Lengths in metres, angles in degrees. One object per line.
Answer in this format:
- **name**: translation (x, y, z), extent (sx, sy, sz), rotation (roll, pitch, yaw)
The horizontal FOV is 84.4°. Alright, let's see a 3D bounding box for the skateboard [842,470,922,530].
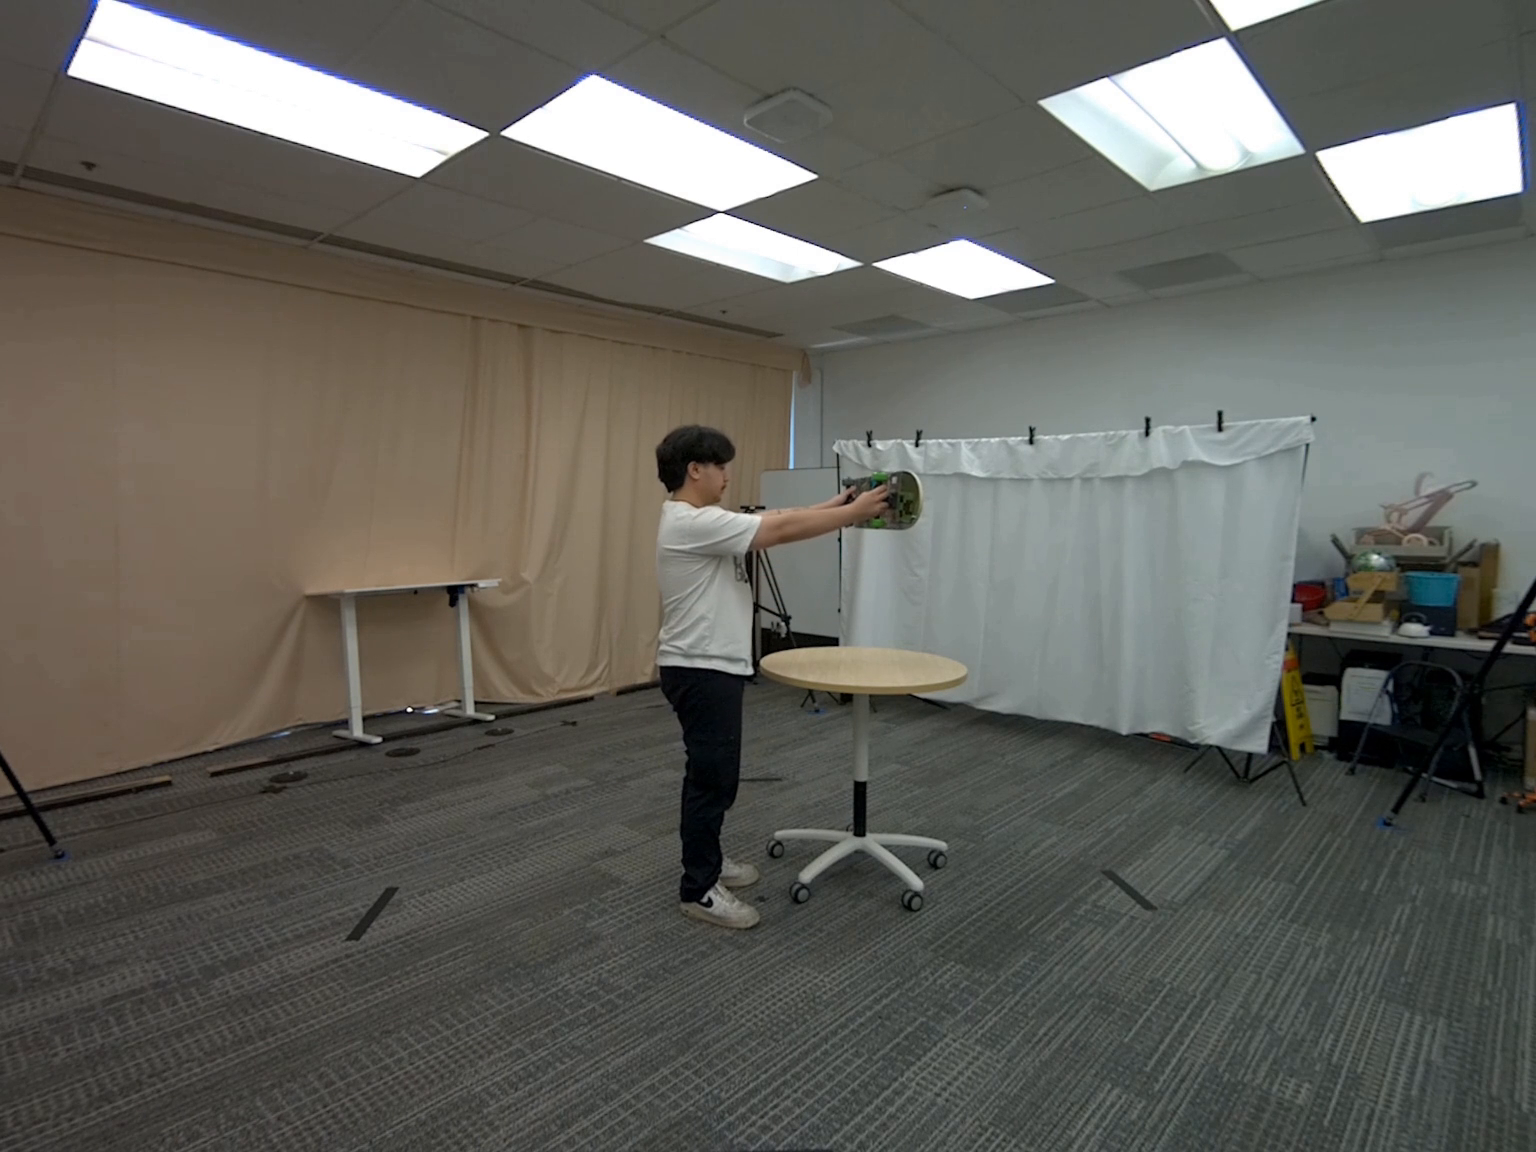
- **skateboard**: translation (0.373, -0.255, 2.958), extent (0.109, 0.193, 0.792), rotation (3, 3, -8)
